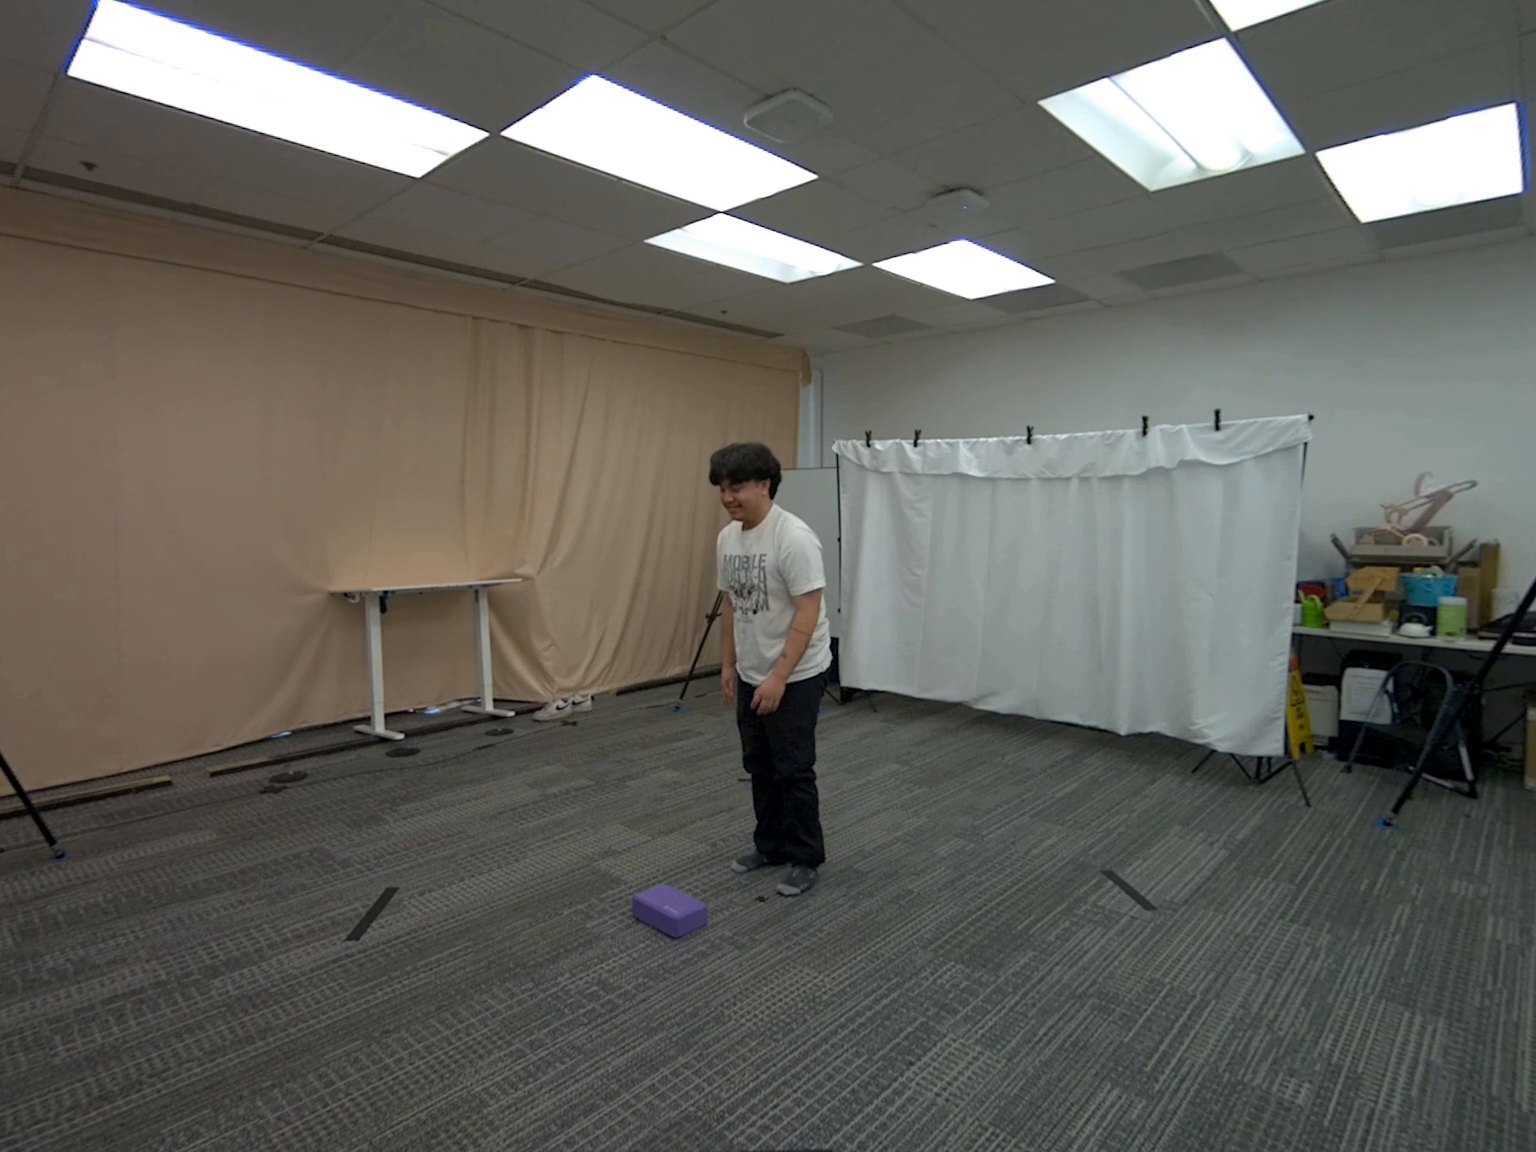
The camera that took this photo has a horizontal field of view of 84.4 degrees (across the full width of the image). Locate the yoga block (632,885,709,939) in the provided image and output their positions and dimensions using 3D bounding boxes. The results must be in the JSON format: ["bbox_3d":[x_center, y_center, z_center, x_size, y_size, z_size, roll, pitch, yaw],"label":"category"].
[{"bbox_3d":[-0.330,1.122,2.825,0.237,0.076,0.144,4,5,42],"label":"yoga block"}]
